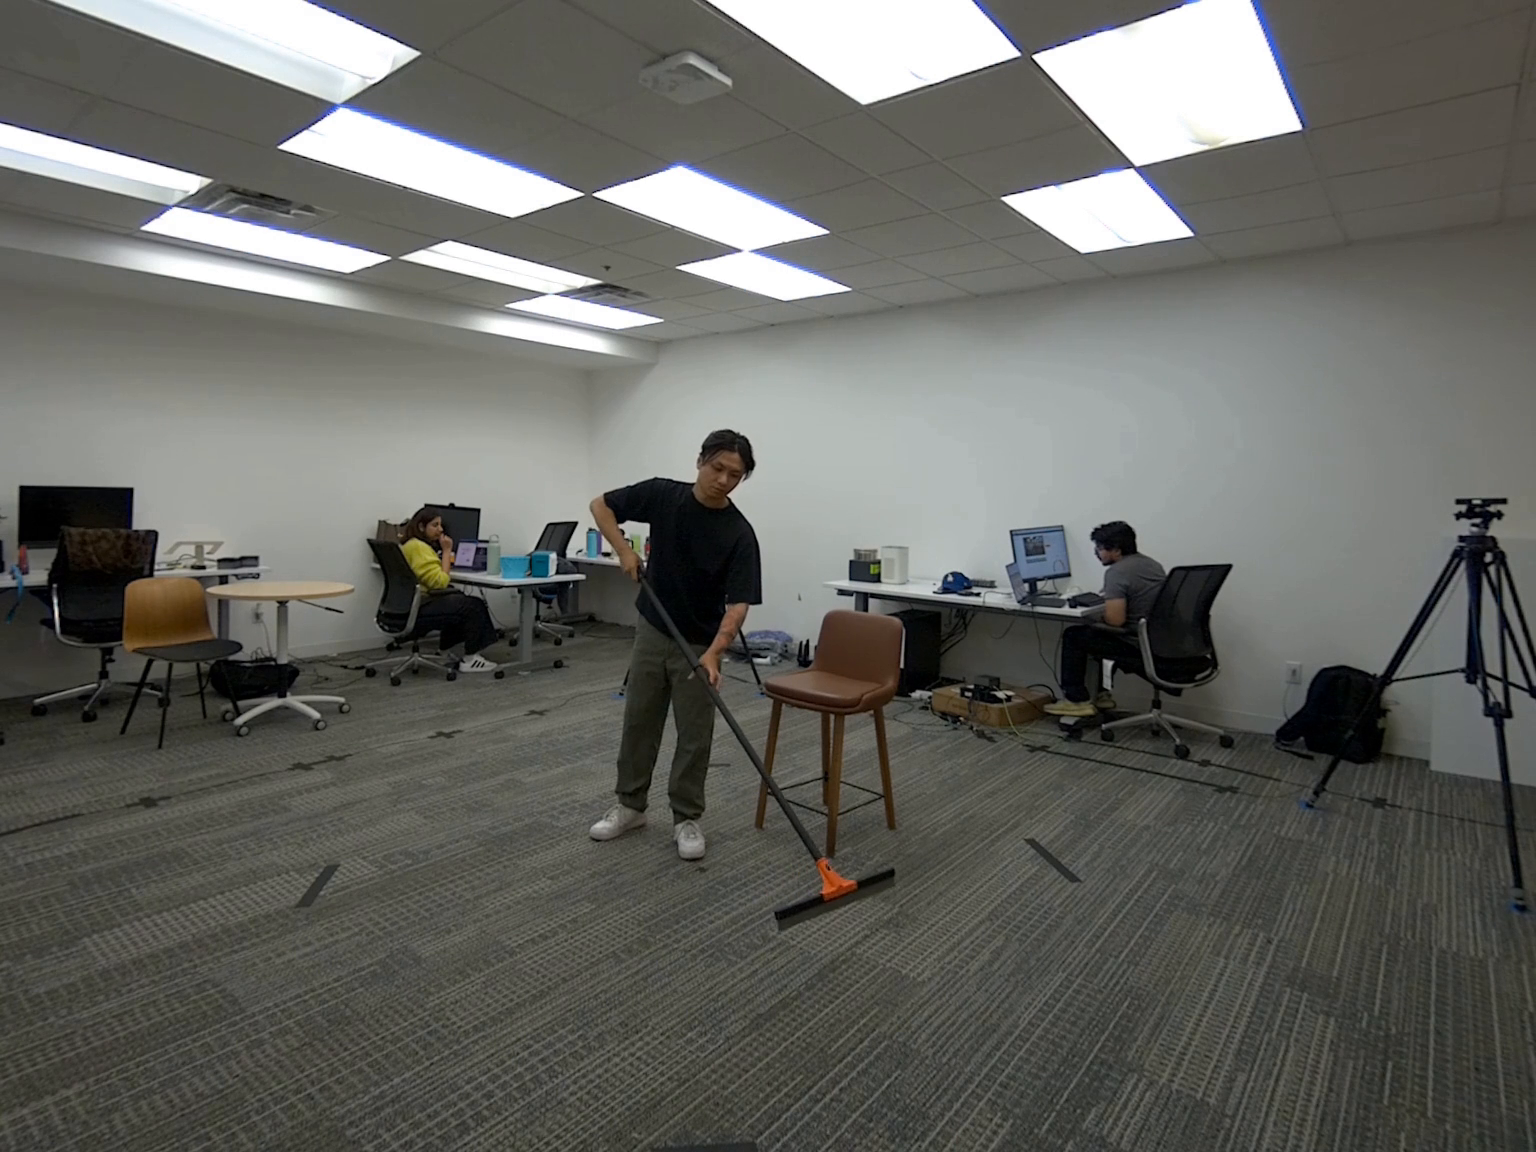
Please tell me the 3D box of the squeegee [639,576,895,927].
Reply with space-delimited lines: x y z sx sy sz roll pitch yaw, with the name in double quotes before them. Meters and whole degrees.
"squeegee" -0.173 0.387 2.837 0.424 0.052 1.602 -3 40 -37
